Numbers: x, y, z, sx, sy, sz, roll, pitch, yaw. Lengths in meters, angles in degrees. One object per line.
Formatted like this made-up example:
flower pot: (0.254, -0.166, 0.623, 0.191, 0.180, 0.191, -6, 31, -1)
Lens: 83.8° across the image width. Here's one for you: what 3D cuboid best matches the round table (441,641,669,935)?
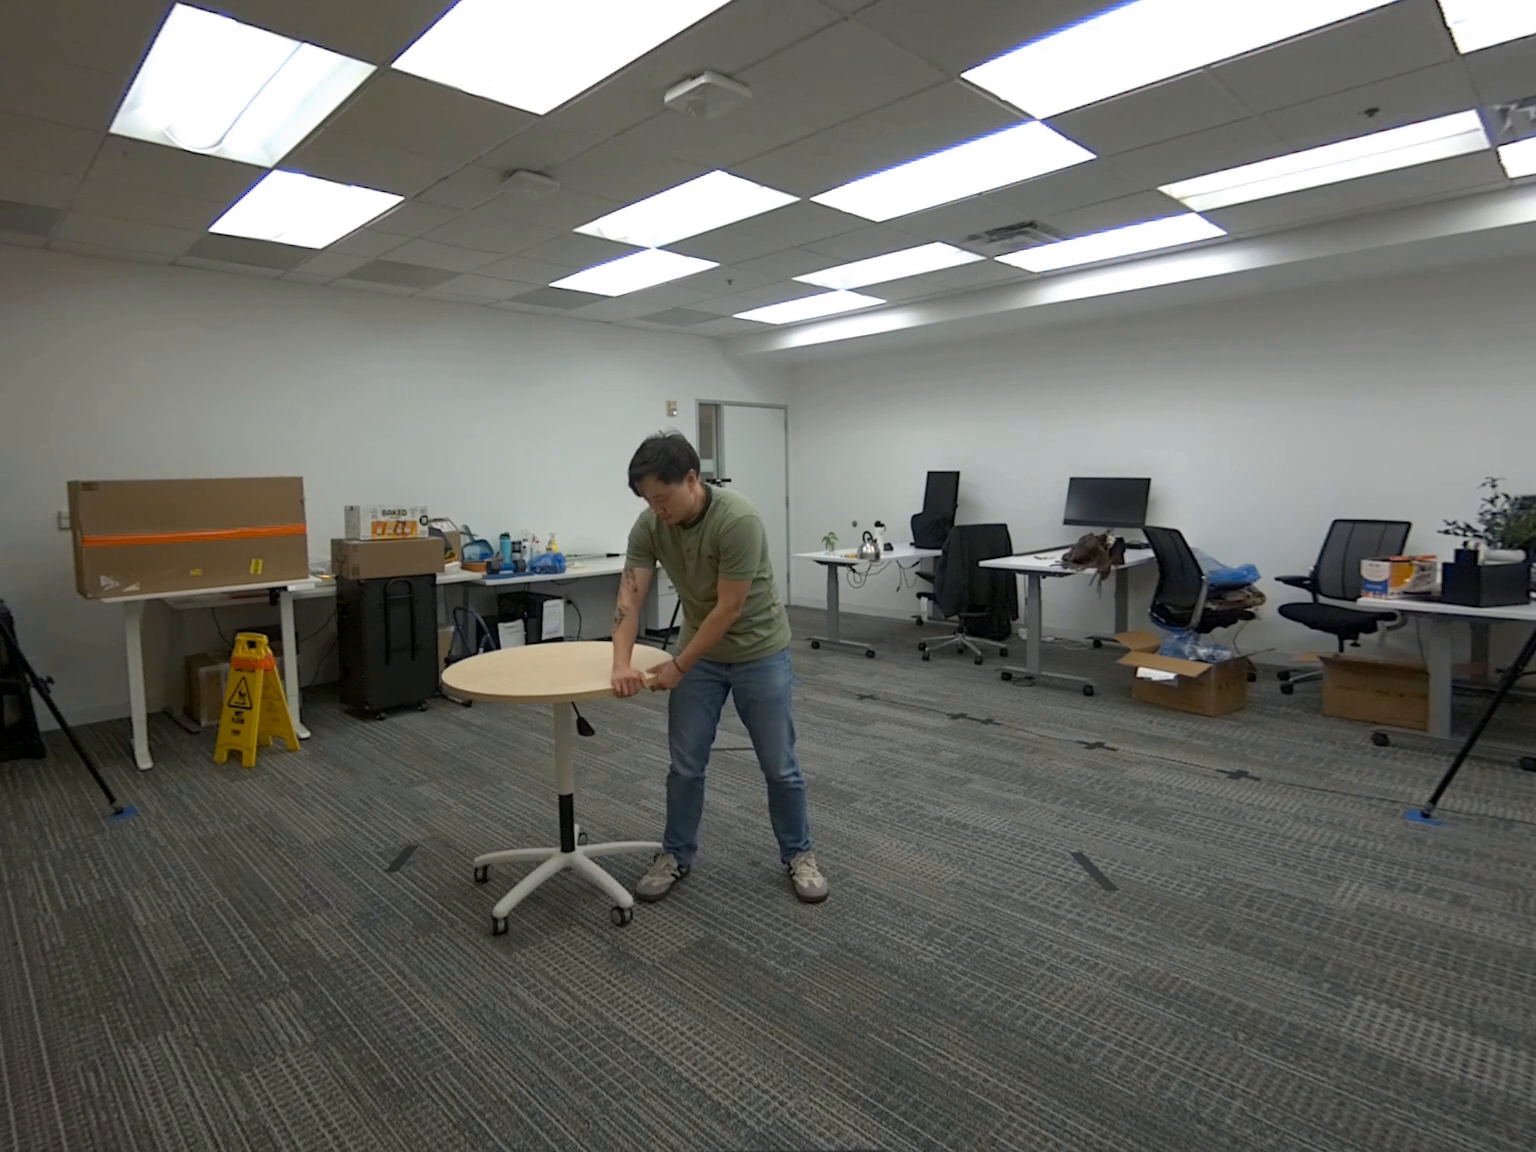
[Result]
round table: (-0.673, 0.689, 2.903, 0.763, 0.790, 0.769, -2, 6, -1)
